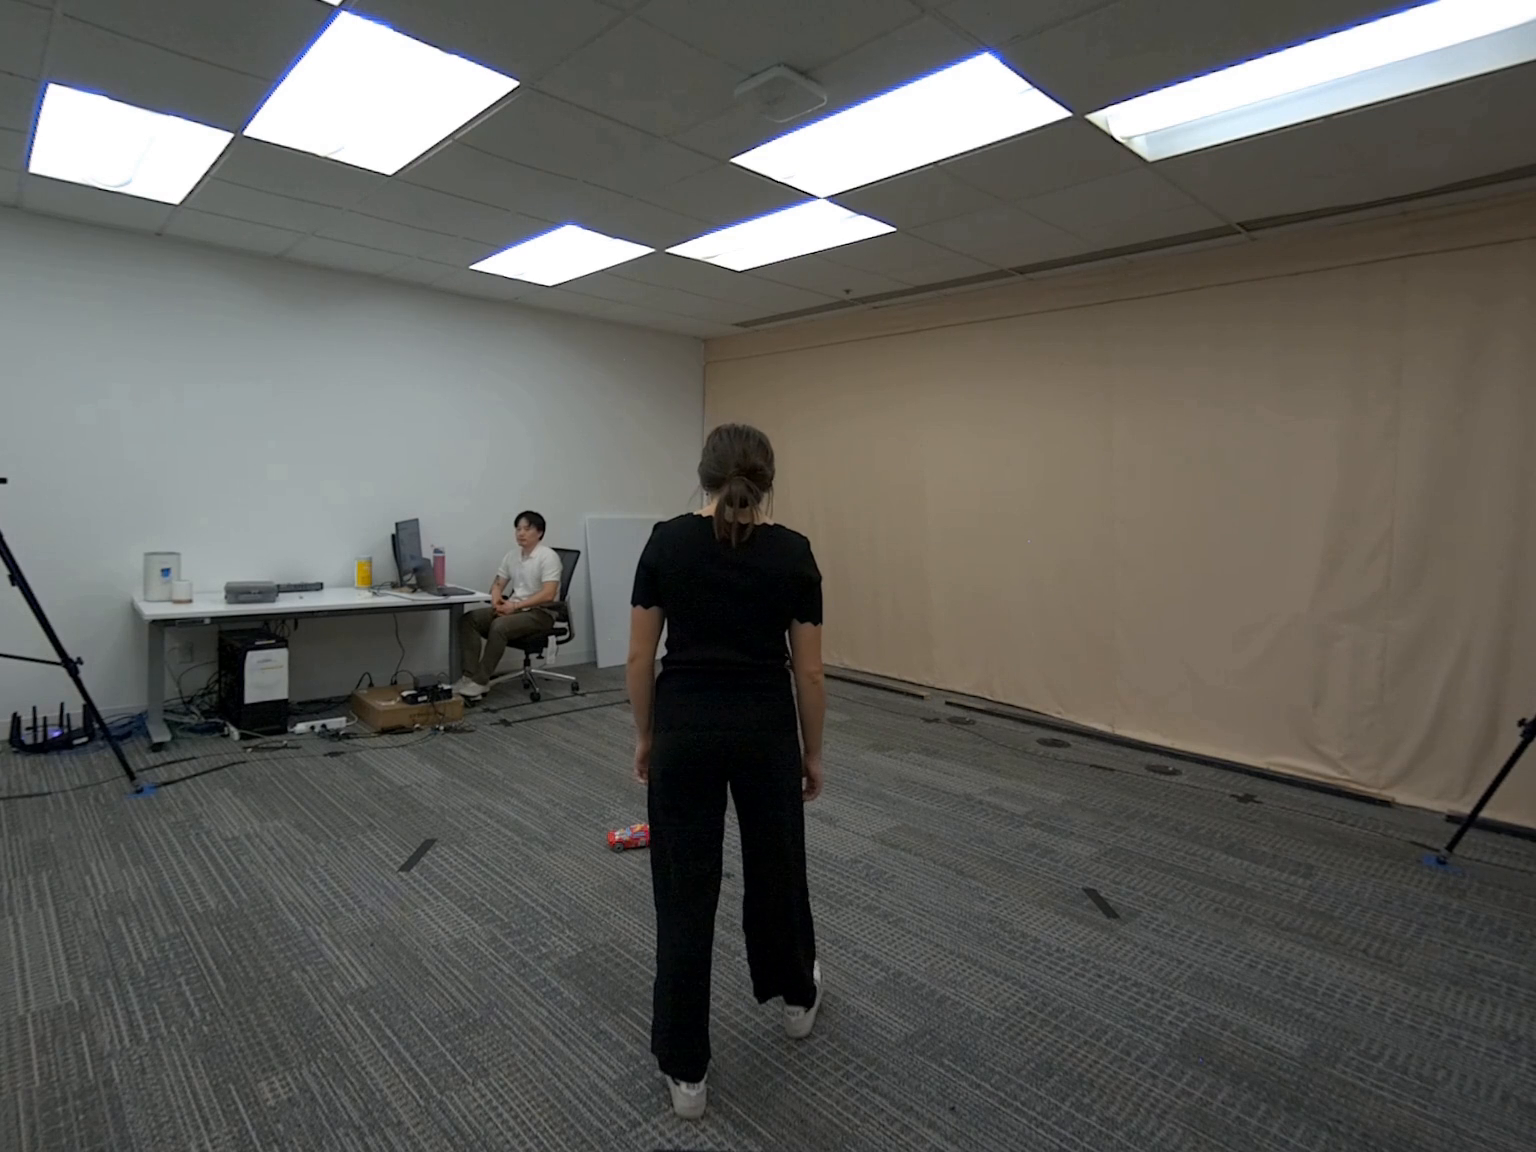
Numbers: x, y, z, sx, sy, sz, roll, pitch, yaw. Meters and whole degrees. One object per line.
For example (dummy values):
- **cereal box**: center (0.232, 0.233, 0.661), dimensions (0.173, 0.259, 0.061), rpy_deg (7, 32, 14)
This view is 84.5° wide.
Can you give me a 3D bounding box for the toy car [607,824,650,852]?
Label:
- **toy car**: center (-0.521, 1.044, 3.362), dimensions (0.252, 0.083, 0.132), rpy_deg (-11, 8, -15)
